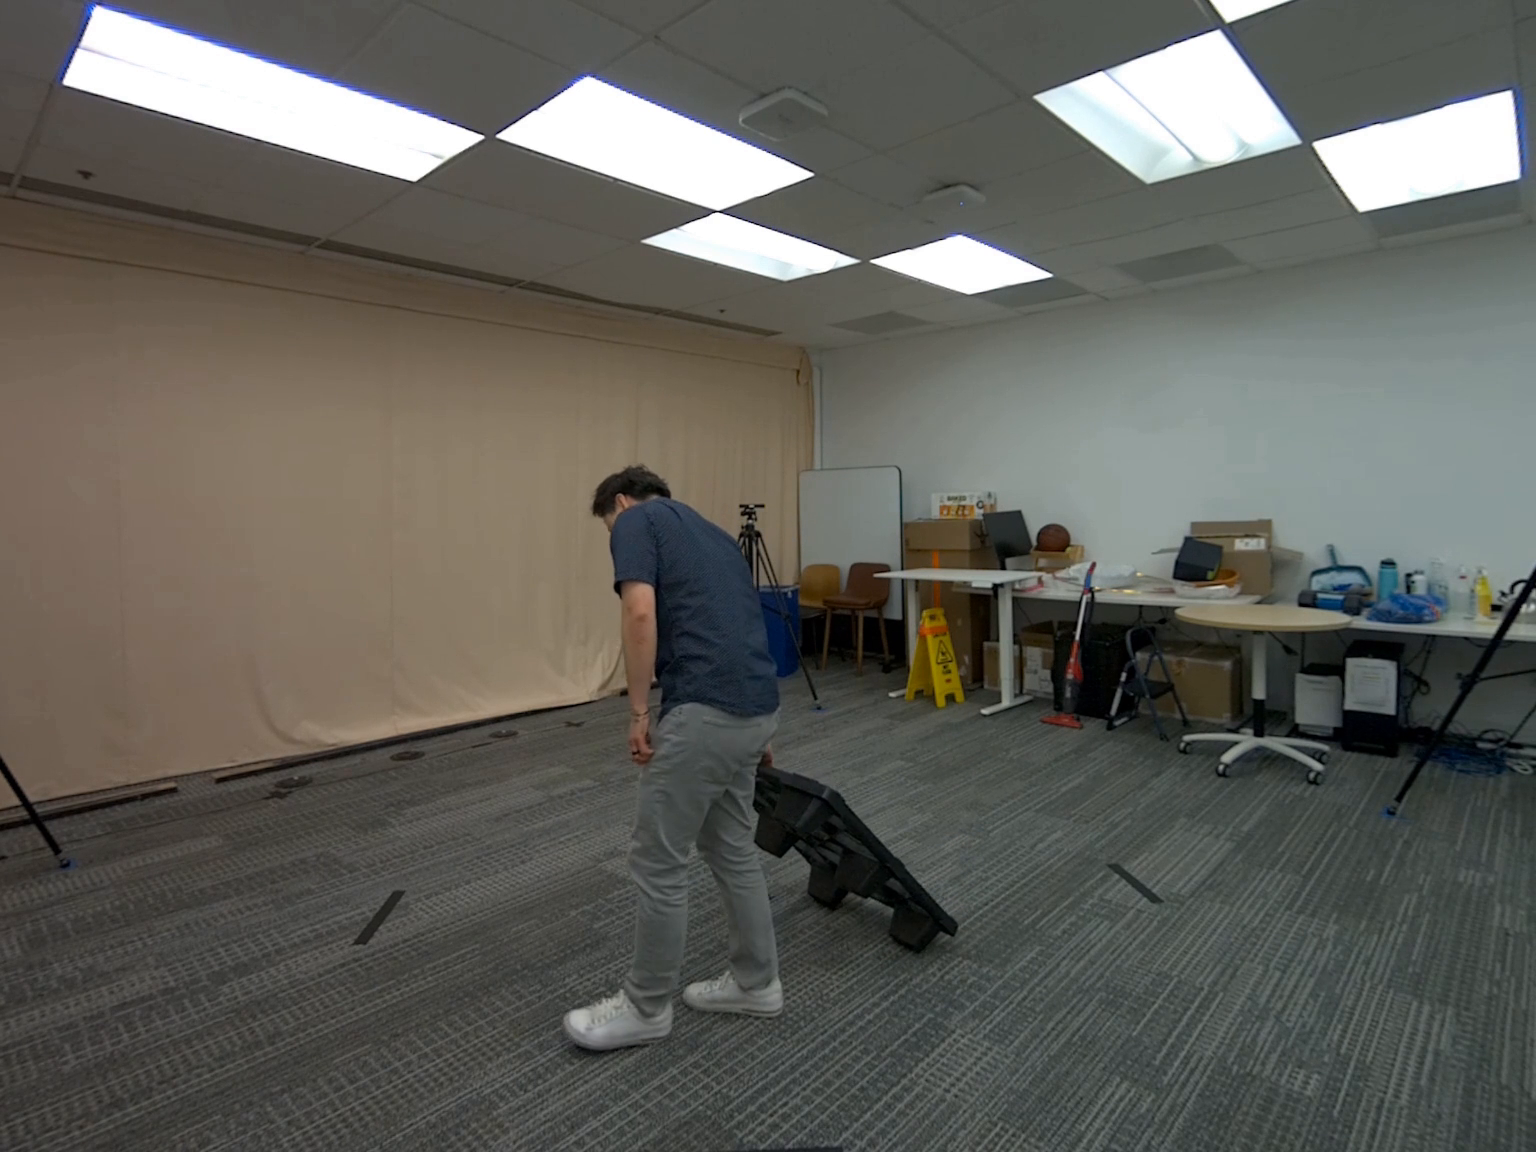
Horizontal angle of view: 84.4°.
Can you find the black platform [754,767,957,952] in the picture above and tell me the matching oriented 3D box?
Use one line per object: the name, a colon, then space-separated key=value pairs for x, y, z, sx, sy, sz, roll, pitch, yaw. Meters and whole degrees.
black platform: x=0.162 y=0.862 z=2.630 sx=0.625 sy=0.782 sz=0.143 roll=5 pitch=50 yaw=51
